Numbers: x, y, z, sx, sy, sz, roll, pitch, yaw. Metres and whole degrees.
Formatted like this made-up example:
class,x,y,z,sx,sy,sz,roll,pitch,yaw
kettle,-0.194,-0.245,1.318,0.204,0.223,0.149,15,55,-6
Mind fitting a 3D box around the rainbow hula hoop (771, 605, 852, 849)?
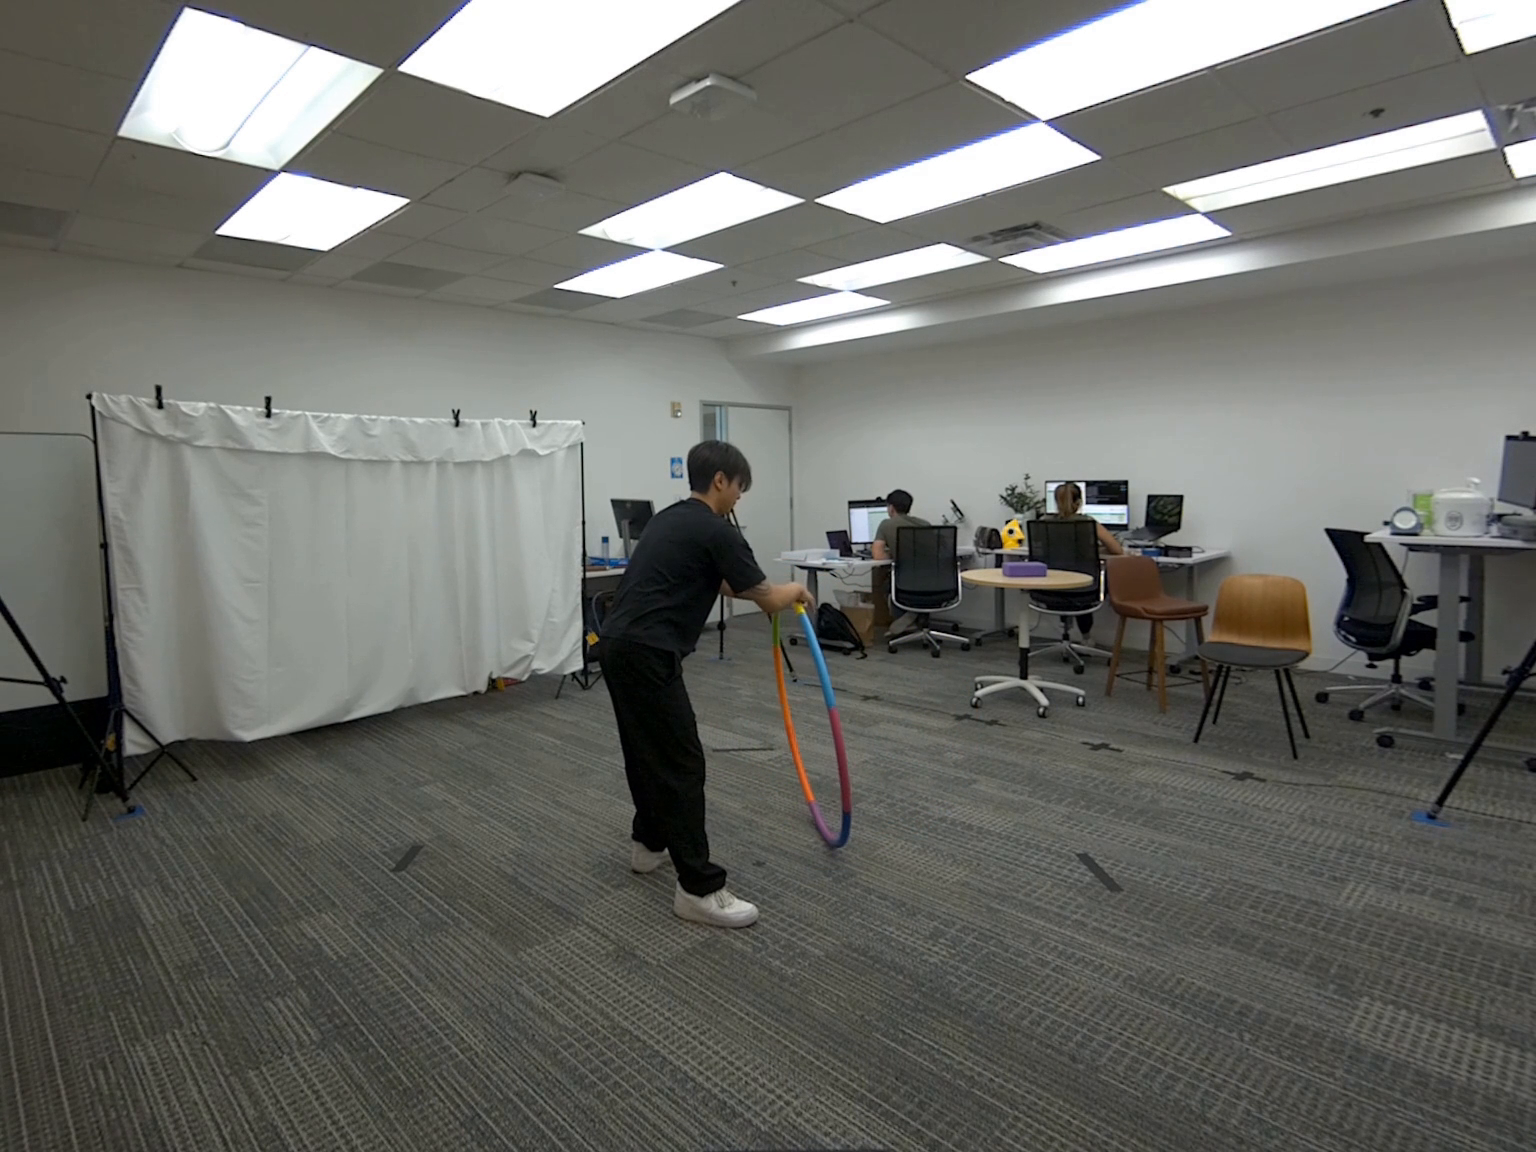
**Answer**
class,x,y,z,sx,sy,sz,roll,pitch,yaw
rainbow hula hoop,0.158,0.541,3.309,0.035,0.973,0.992,-10,6,-11
